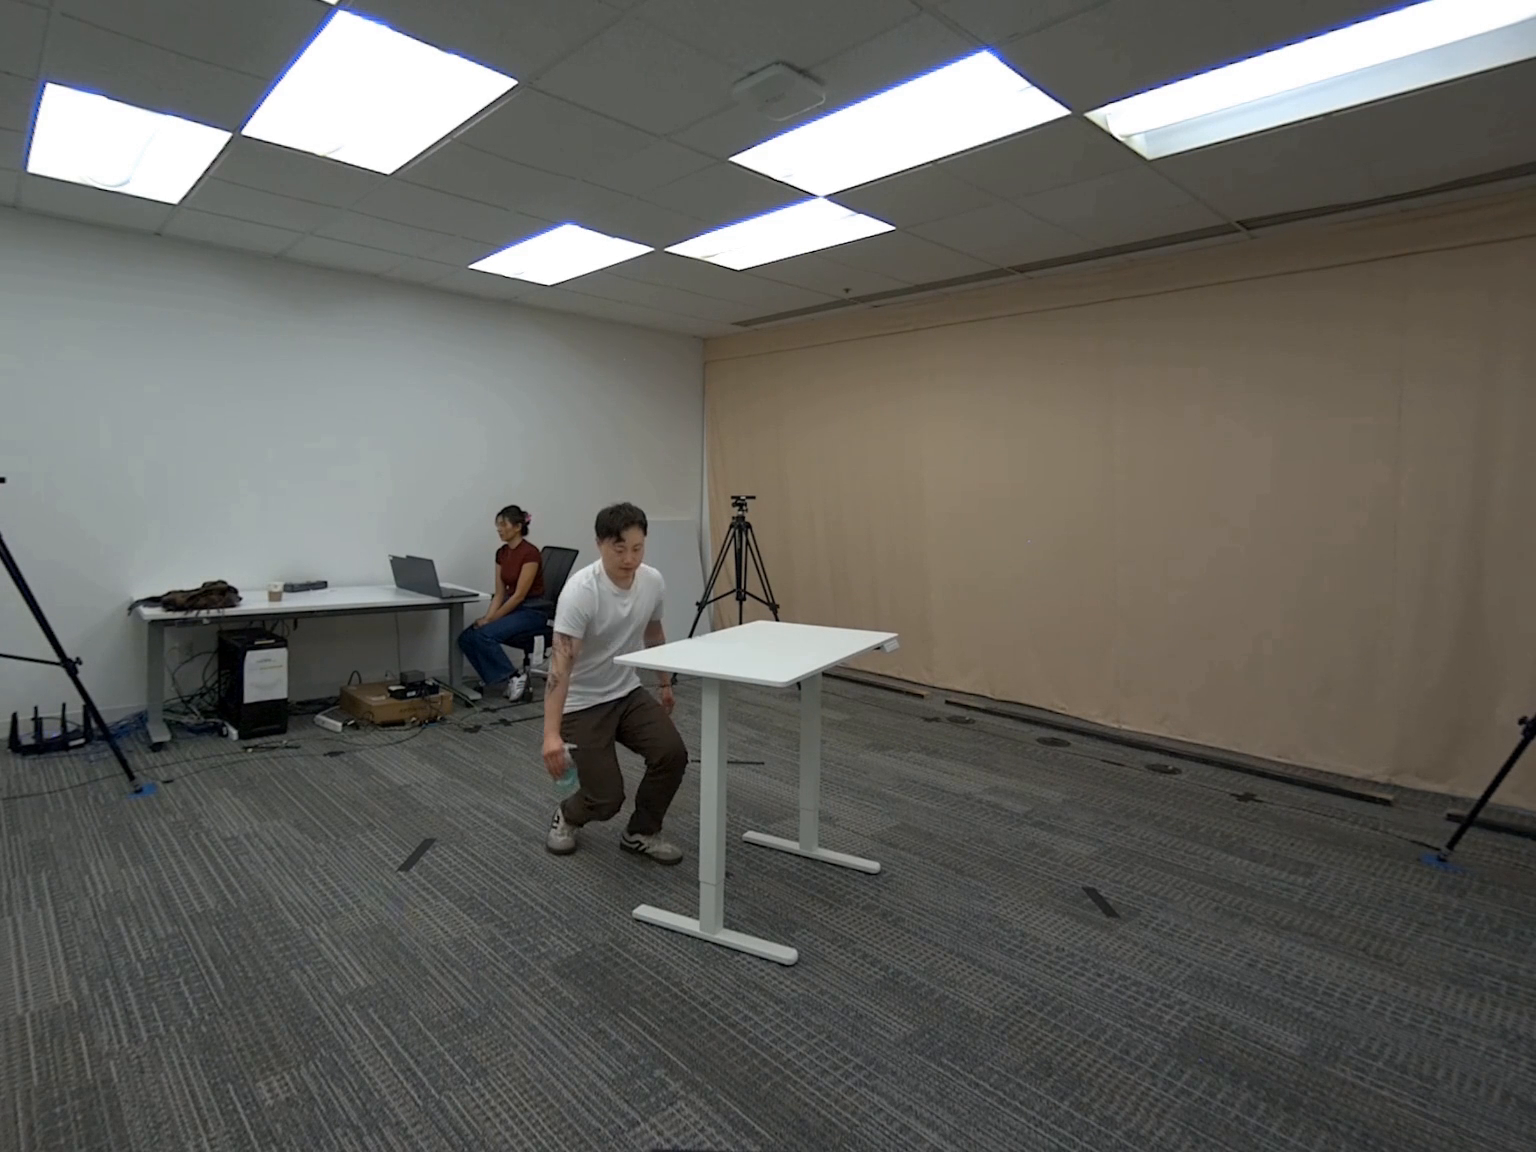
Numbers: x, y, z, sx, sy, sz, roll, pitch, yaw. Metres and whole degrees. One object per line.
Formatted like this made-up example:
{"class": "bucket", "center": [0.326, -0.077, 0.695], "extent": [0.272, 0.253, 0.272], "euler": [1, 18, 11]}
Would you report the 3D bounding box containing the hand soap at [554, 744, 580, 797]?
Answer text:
{"class": "hand soap", "center": [-0.695, 0.676, 2.866], "extent": [0.084, 0.167, 0.044], "euler": [-1, 5, -9]}
